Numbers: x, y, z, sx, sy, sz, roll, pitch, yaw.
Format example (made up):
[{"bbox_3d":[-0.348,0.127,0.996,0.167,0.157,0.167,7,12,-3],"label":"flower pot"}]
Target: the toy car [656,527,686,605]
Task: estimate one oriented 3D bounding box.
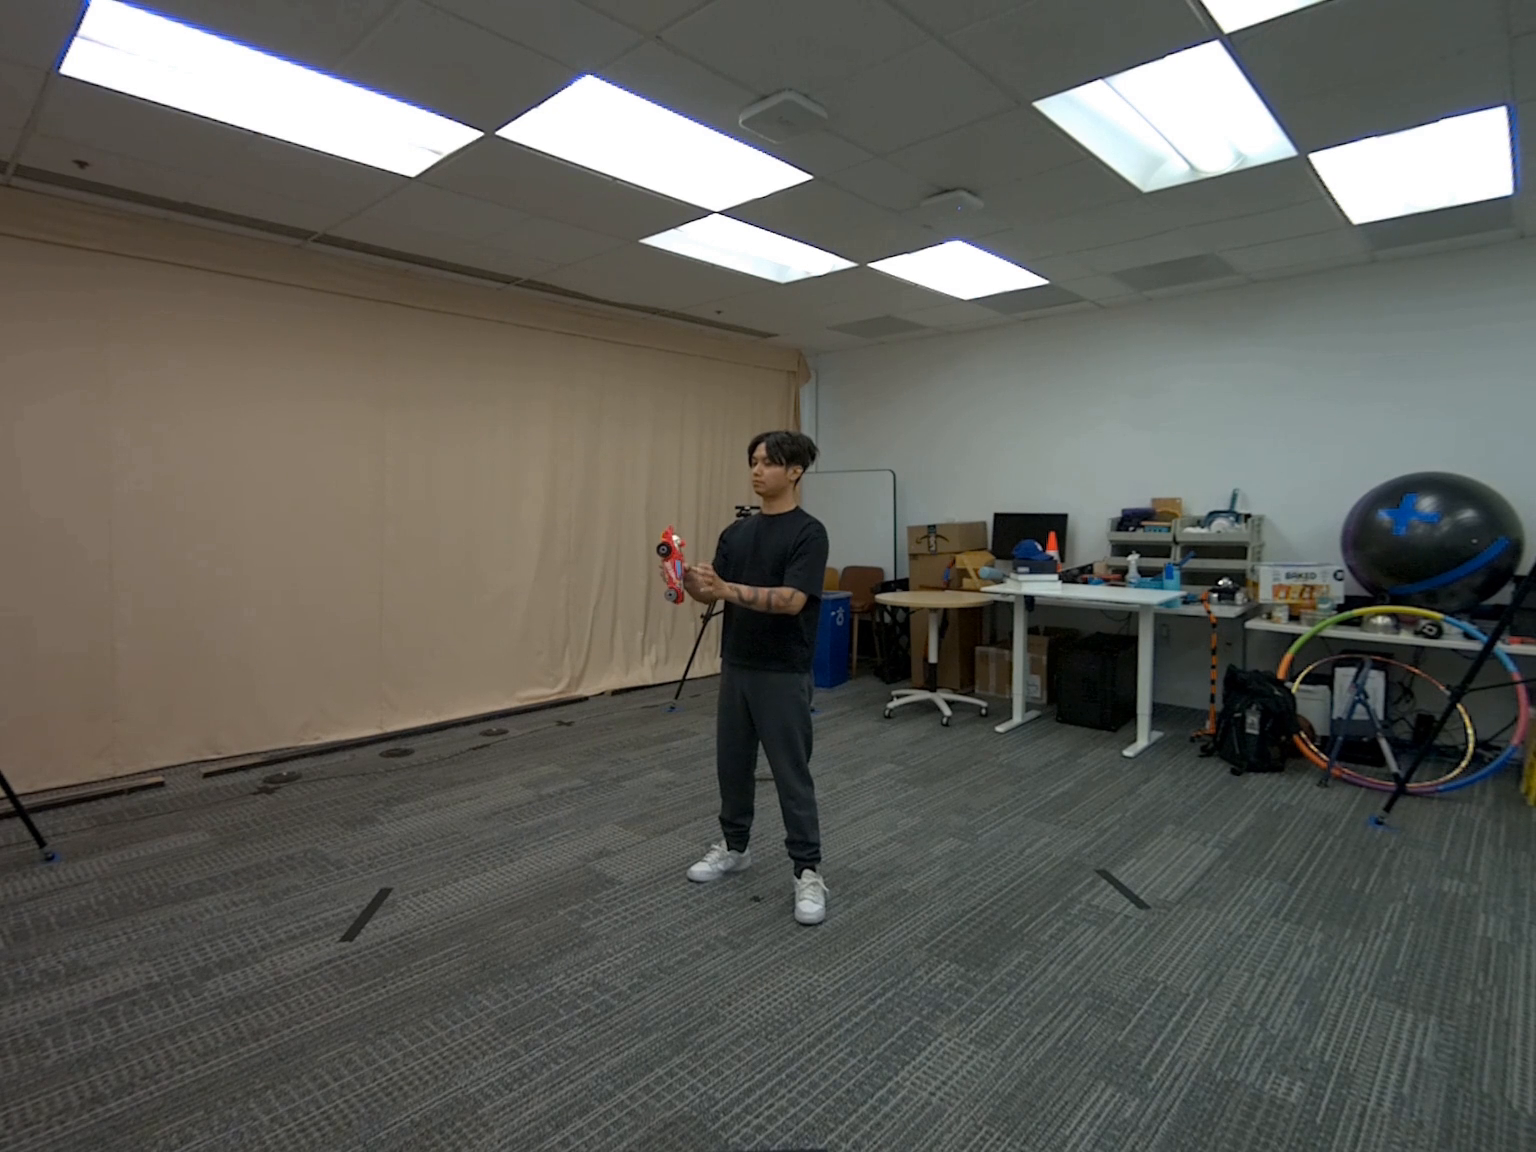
[{"bbox_3d":[-0.310,-0.038,2.727,0.084,0.254,0.130,2,2,4],"label":"toy car"}]
